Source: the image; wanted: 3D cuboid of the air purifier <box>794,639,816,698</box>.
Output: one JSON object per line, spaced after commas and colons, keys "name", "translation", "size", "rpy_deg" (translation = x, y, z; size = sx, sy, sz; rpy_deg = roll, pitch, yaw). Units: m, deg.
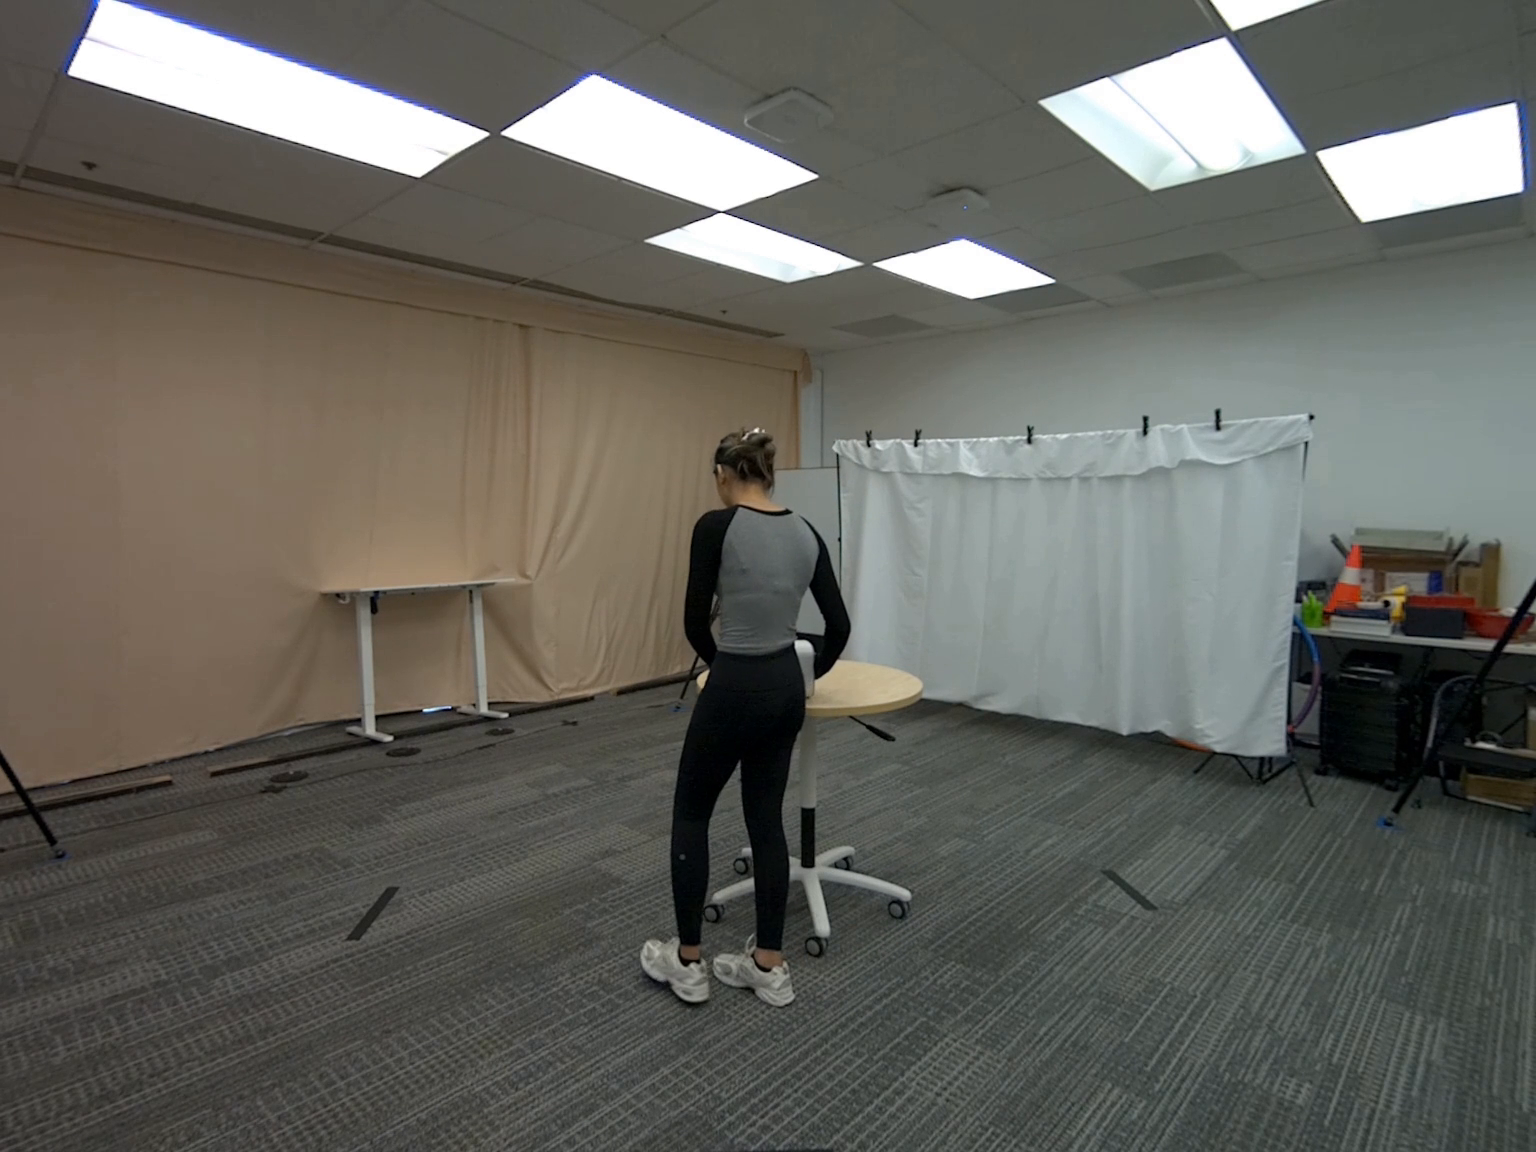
{"name": "air purifier", "translation": [-0.007, 0.295, 2.651], "size": [0.263, 0.171, 0.173], "rpy_deg": [-1, 5, -9]}
